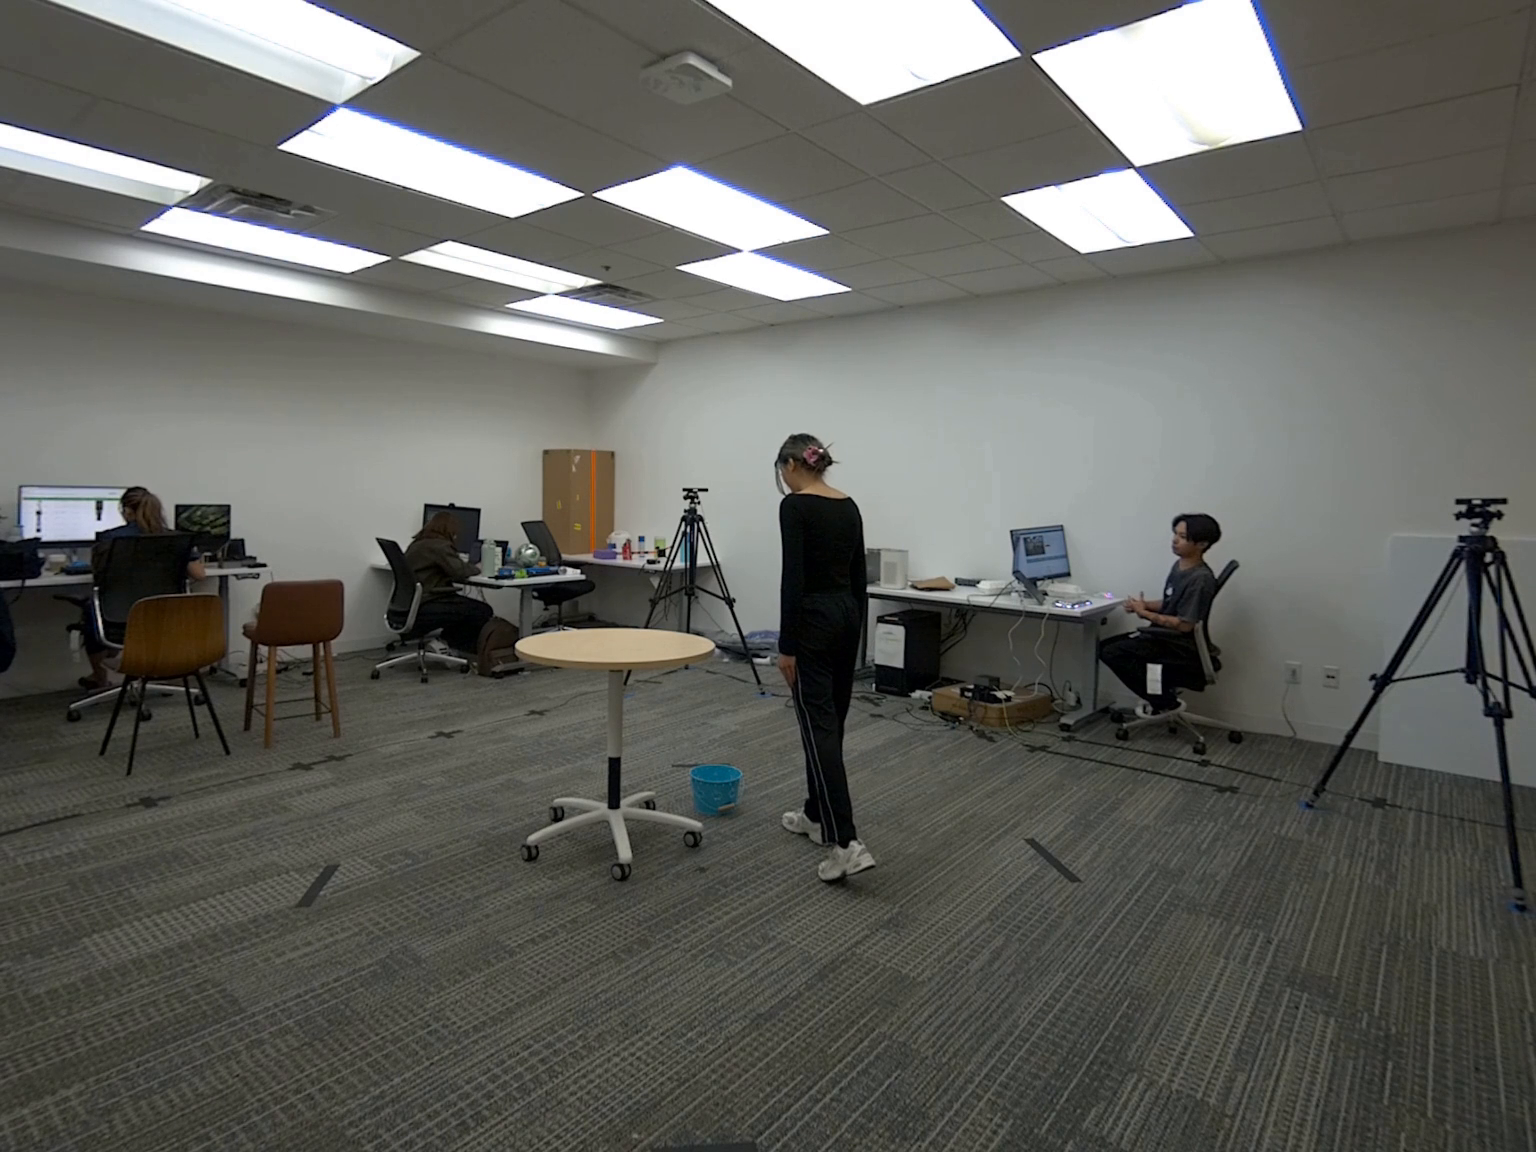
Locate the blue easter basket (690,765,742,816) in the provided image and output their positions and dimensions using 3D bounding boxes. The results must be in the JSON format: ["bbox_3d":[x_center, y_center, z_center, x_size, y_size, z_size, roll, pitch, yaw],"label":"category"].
[{"bbox_3d":[-0.243,0.932,3.718,0.243,0.155,0.245,1,5,-2],"label":"blue easter basket"}]
